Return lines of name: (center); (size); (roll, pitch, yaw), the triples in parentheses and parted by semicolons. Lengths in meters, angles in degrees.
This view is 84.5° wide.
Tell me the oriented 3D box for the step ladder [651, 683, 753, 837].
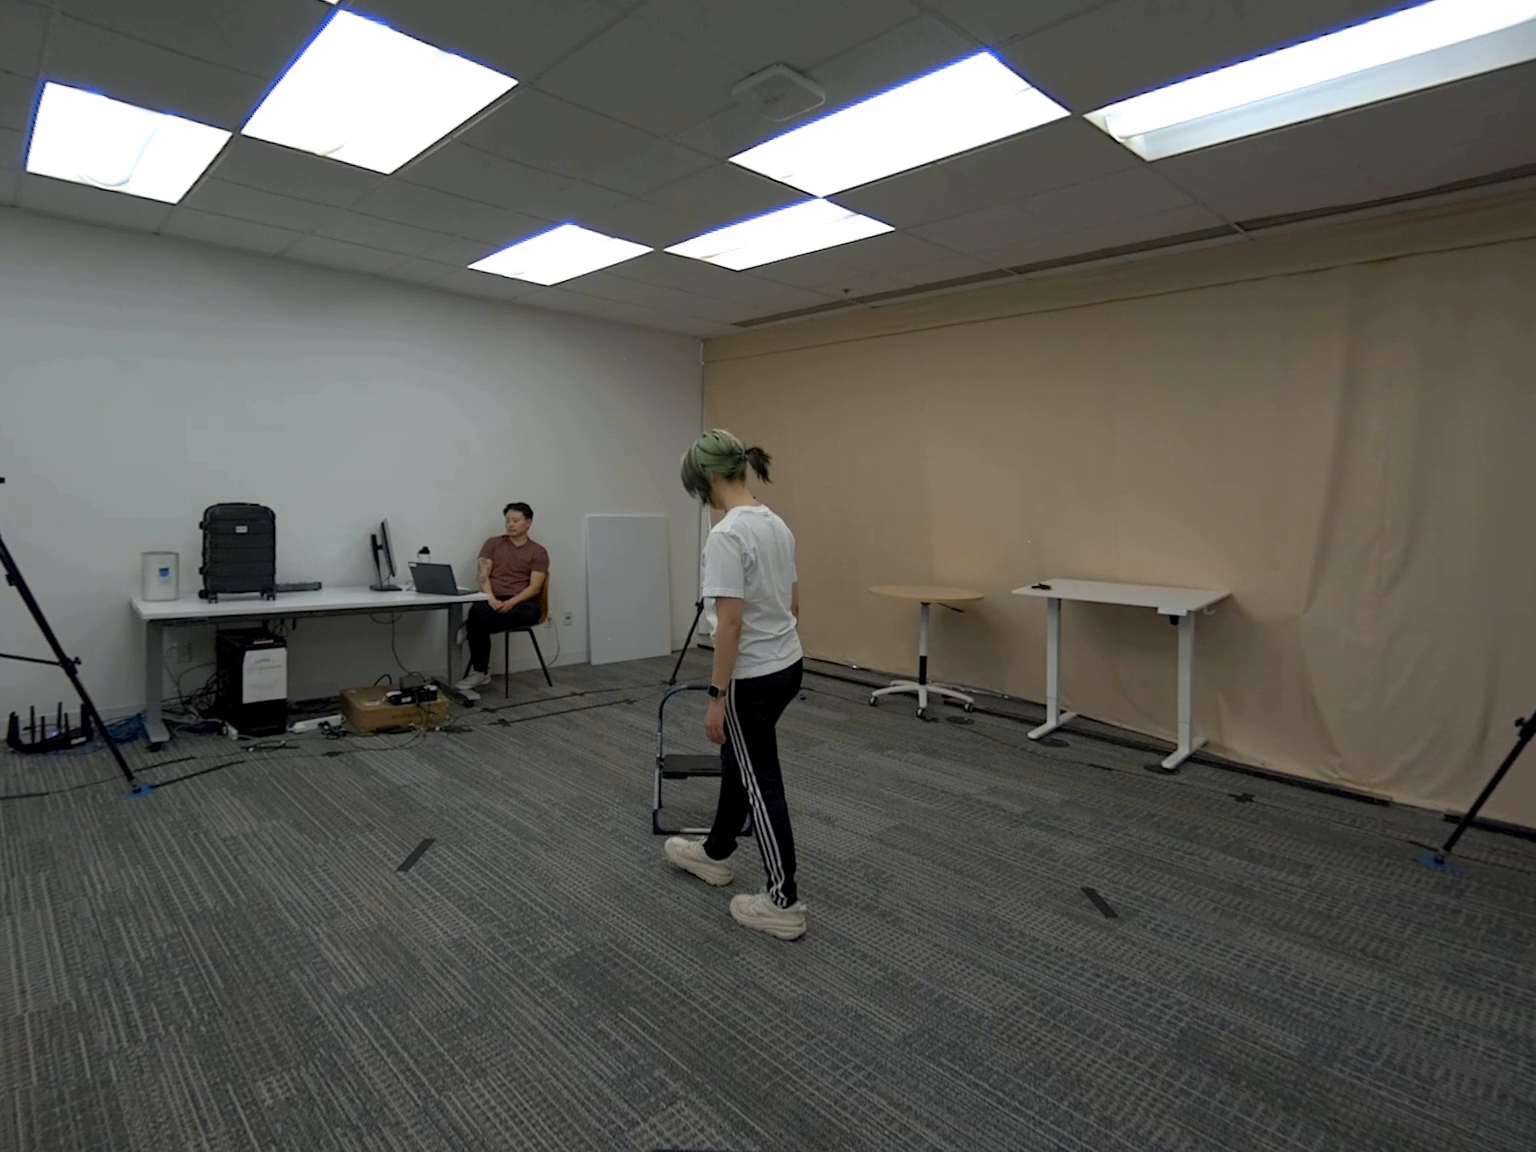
step ladder: (-0.282, 0.755, 3.618); (0.429, 0.605, 0.351); (1, 3, -3)
